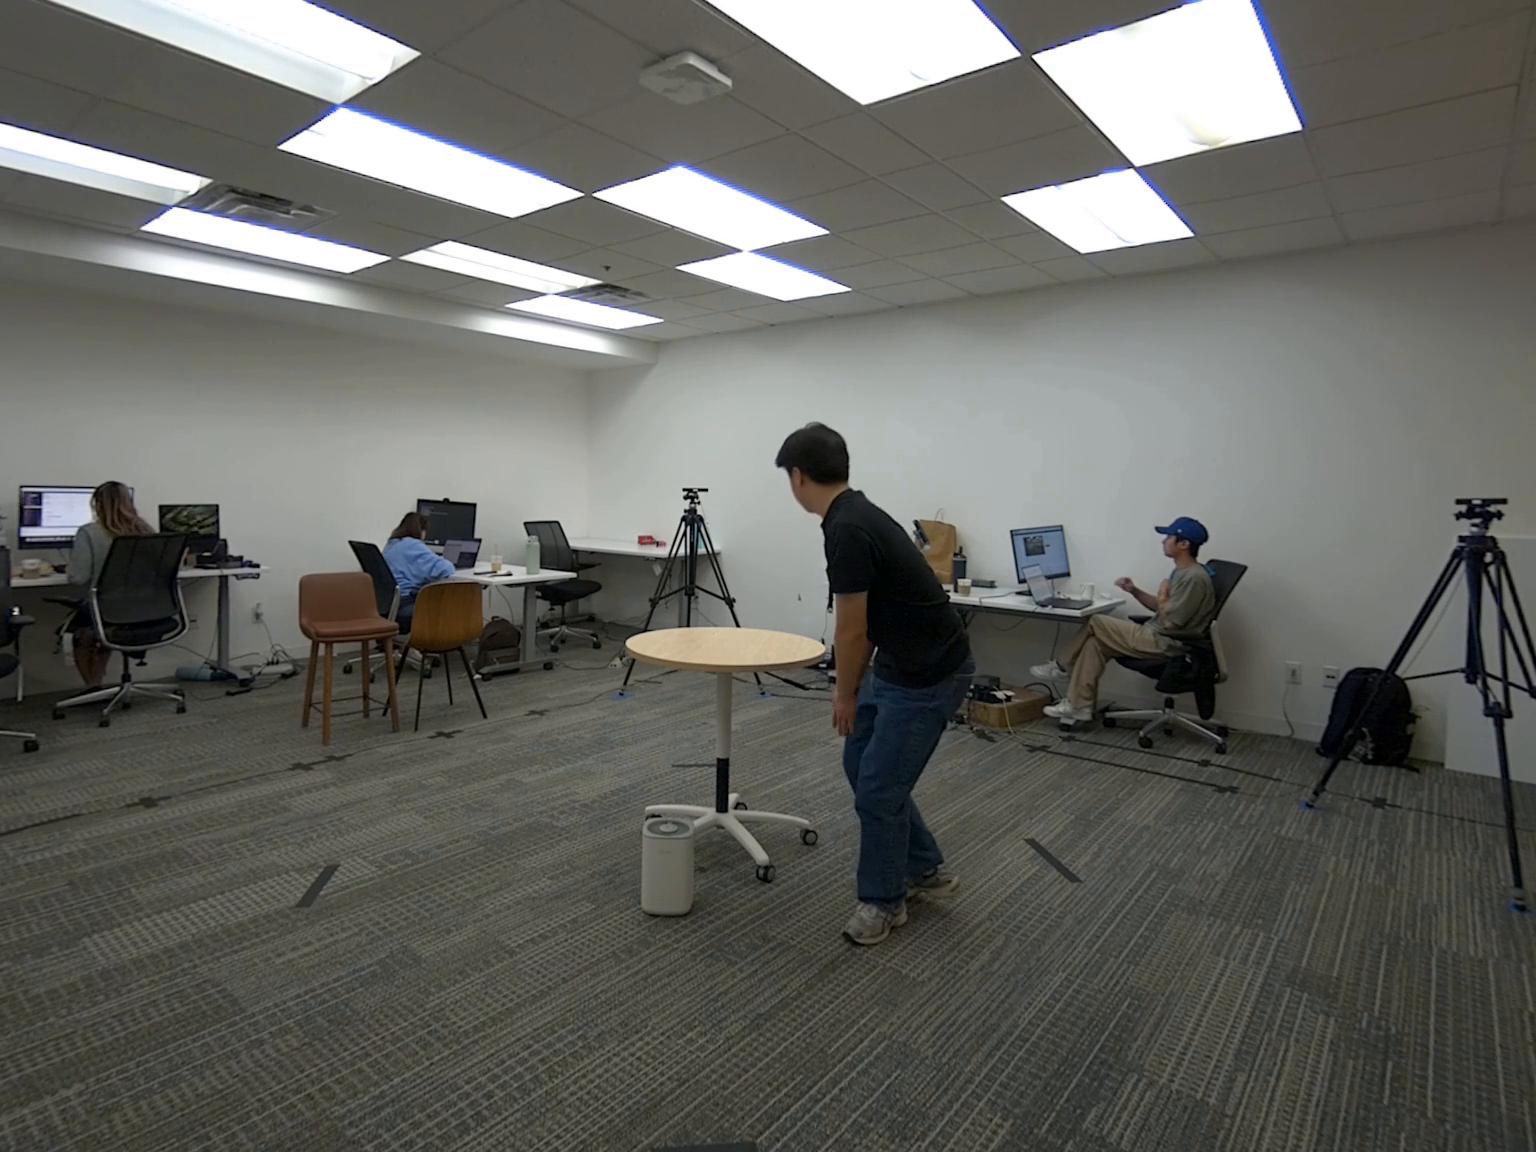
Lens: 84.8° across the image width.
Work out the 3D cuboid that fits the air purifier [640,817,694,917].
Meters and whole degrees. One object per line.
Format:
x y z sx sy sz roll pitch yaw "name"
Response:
-0.338 0.962 2.821 0.171 0.264 0.172 1 4 0 "air purifier"
